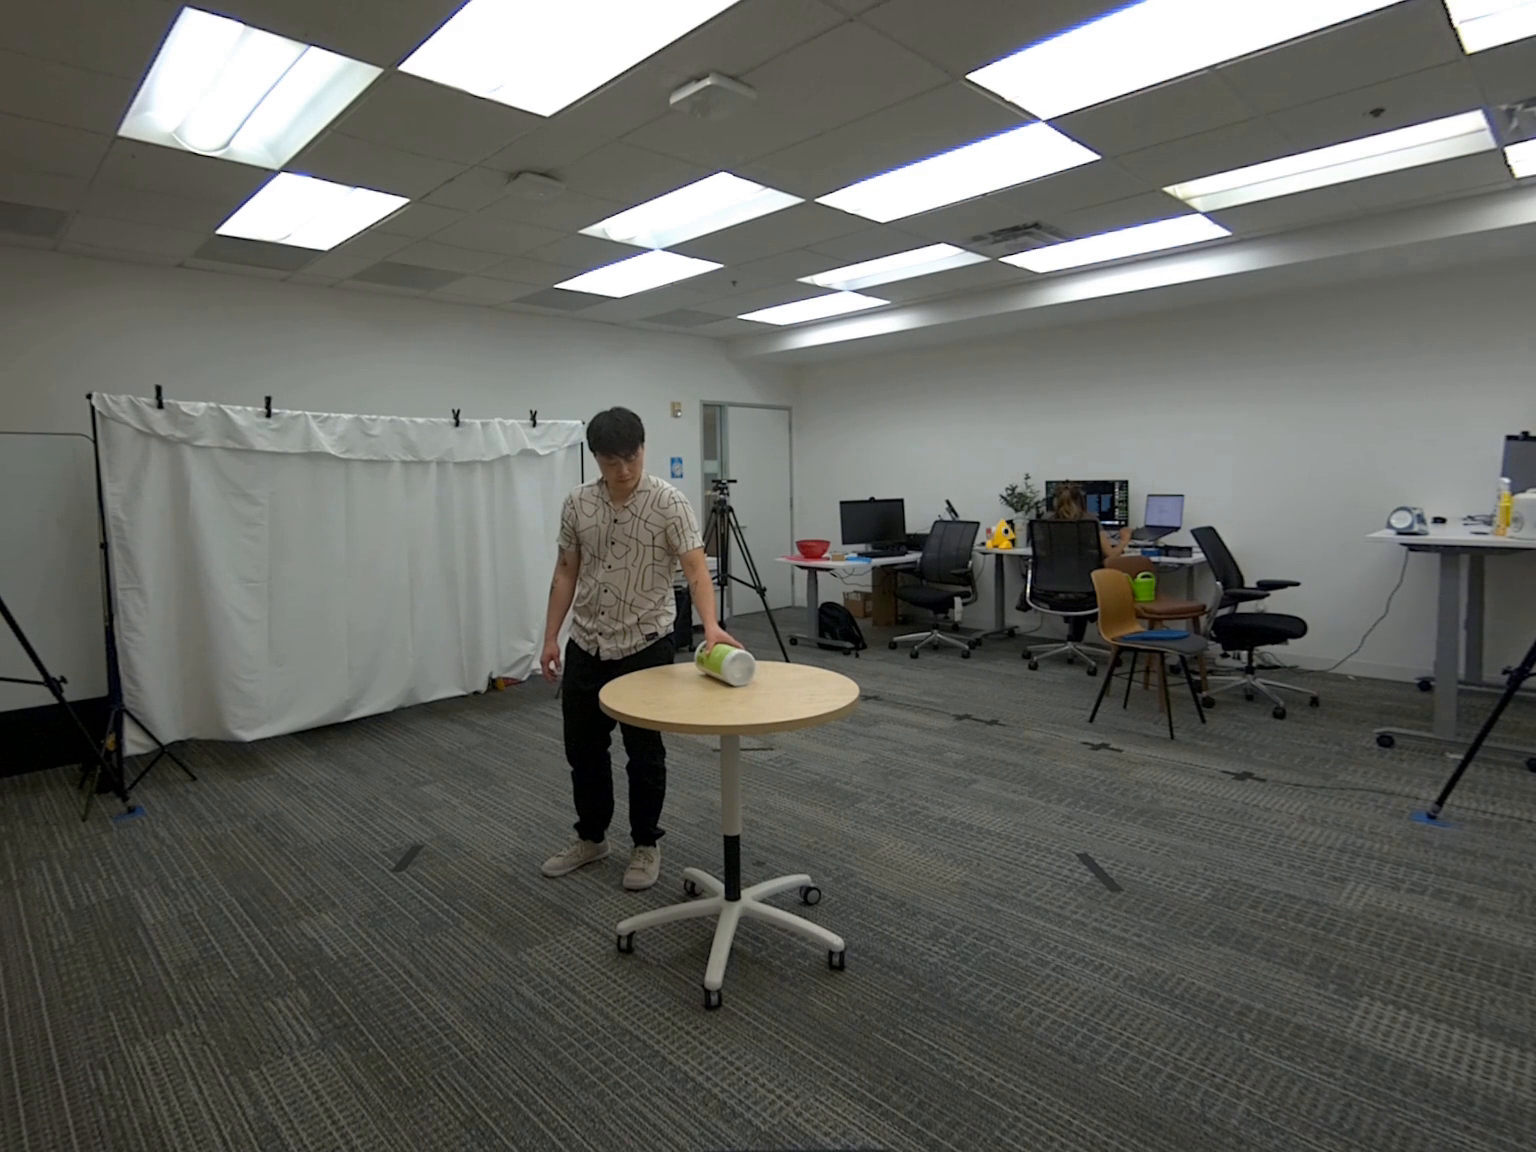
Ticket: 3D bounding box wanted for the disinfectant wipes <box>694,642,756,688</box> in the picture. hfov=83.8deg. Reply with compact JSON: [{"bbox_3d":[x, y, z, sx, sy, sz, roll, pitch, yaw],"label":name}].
[{"bbox_3d":[-0.134,0.267,2.630,0.115,0.117,0.223,-3,5,-29],"label":"disinfectant wipes"}]
